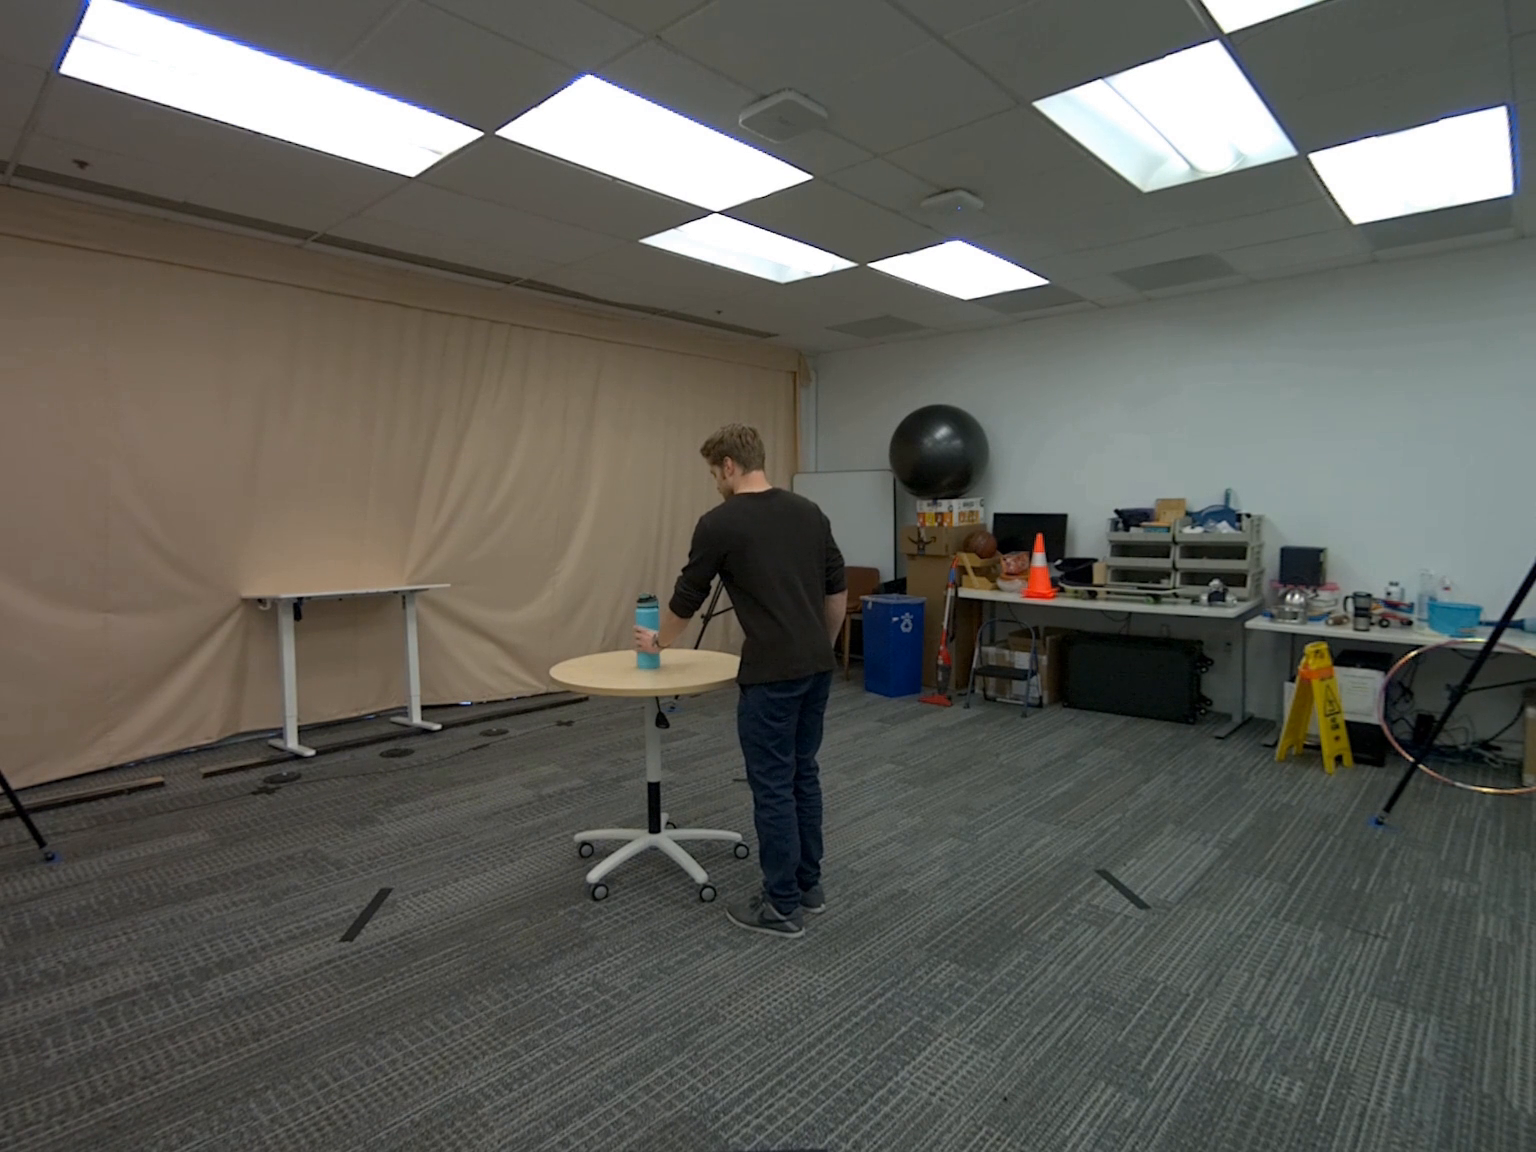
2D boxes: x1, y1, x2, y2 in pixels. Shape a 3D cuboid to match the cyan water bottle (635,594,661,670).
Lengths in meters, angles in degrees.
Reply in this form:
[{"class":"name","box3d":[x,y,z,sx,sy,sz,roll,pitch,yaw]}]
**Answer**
[{"class":"cyan water bottle","box3d":[-0.462,0.208,3.208,0.092,0.283,0.092,-1,1,-2]}]
